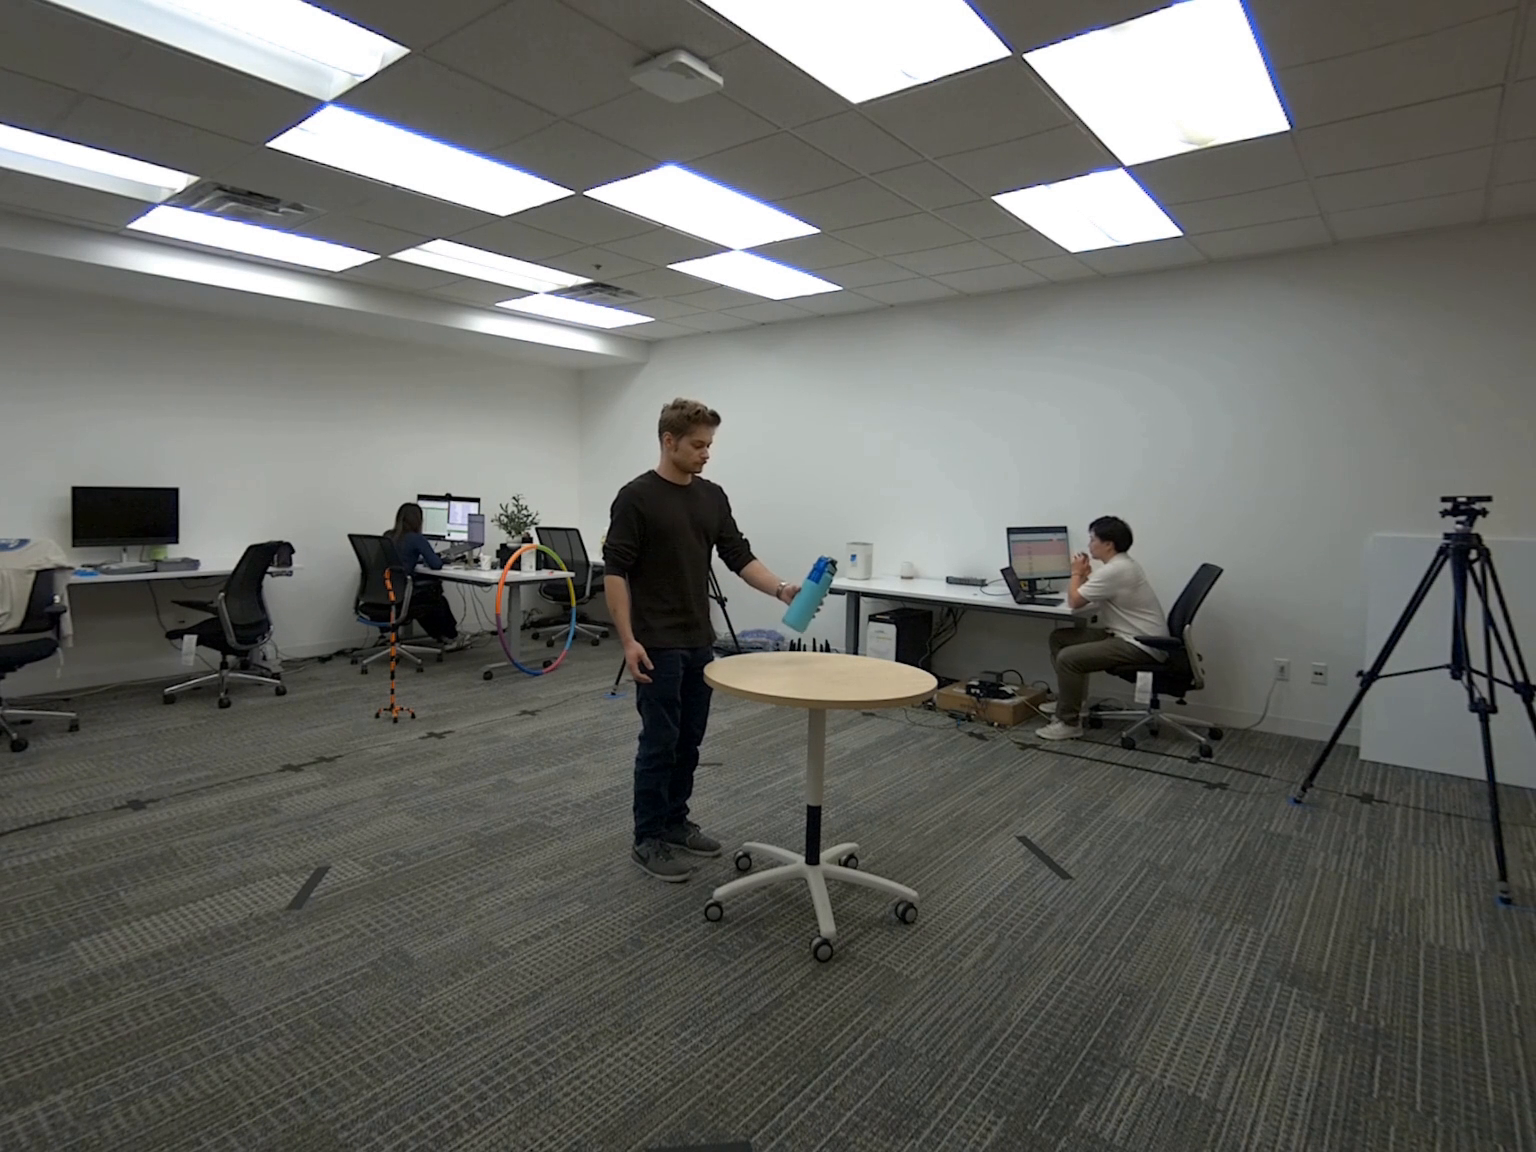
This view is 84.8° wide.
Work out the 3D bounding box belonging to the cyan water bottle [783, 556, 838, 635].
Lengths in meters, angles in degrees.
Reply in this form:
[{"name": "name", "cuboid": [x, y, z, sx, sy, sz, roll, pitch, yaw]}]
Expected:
[{"name": "cyan water bottle", "cuboid": [0.145, 0.059, 2.962, 0.092, 0.284, 0.092, 29, -3, 0]}]
